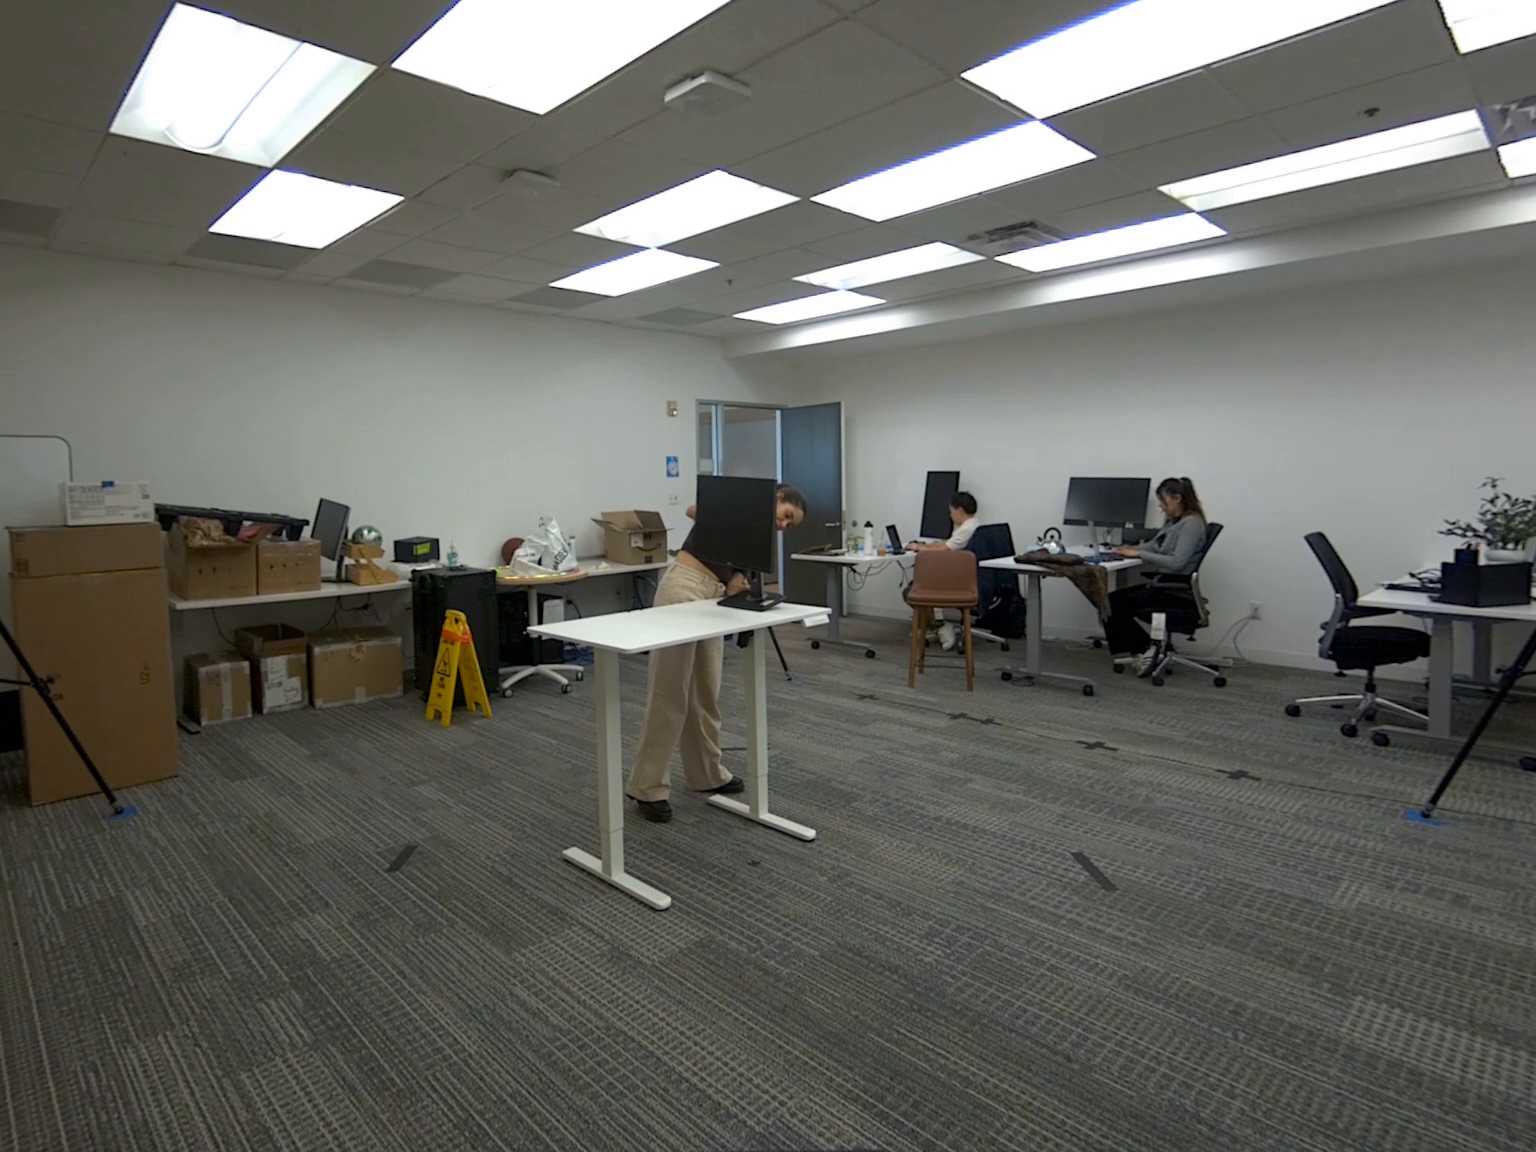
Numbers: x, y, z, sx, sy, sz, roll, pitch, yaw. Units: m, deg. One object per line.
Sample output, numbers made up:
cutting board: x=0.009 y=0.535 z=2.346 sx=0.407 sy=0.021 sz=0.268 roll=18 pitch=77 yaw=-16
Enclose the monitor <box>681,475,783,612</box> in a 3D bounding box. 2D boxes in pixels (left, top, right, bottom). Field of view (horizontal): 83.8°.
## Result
monitor: x=-0.102 y=-0.137 z=3.398 sx=0.183 sy=0.516 sz=0.556 roll=-16 pitch=15 yaw=-33
